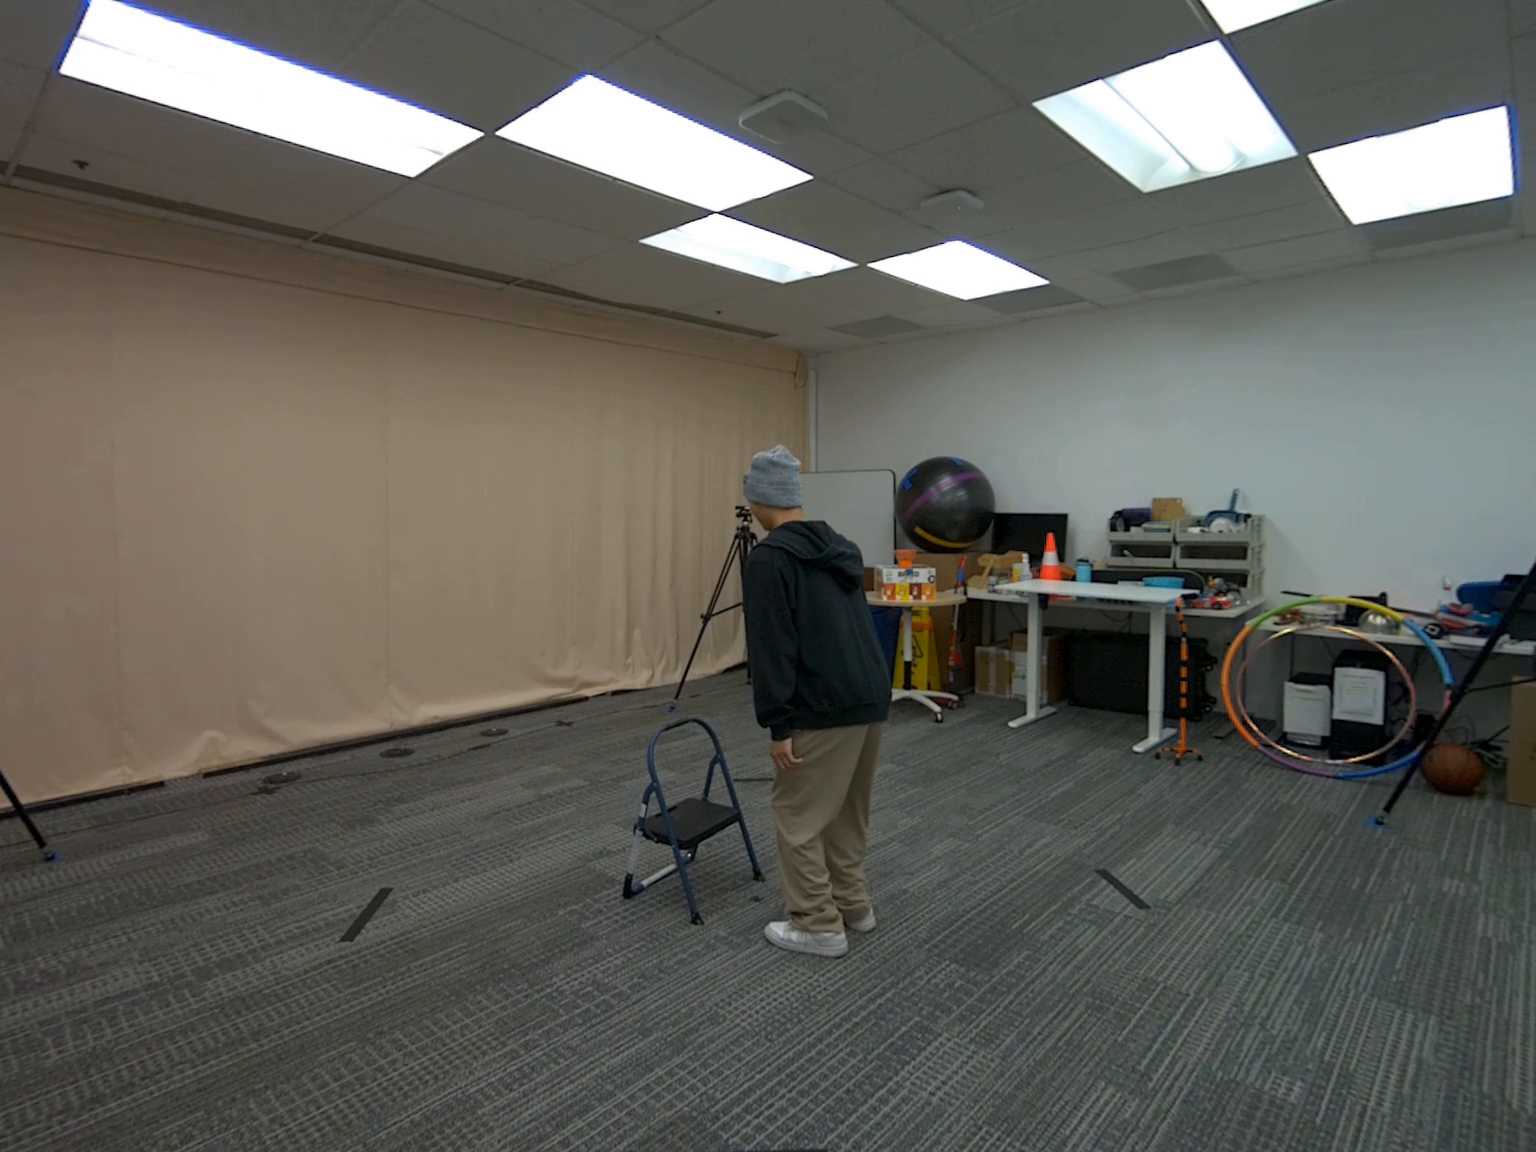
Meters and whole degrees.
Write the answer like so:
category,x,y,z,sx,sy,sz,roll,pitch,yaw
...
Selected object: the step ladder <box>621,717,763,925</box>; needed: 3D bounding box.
category,x,y,z,sx,sy,sz,roll,pitch,yaw
step ladder,-0.268,0.837,3.054,0.360,0.605,0.418,2,4,32
